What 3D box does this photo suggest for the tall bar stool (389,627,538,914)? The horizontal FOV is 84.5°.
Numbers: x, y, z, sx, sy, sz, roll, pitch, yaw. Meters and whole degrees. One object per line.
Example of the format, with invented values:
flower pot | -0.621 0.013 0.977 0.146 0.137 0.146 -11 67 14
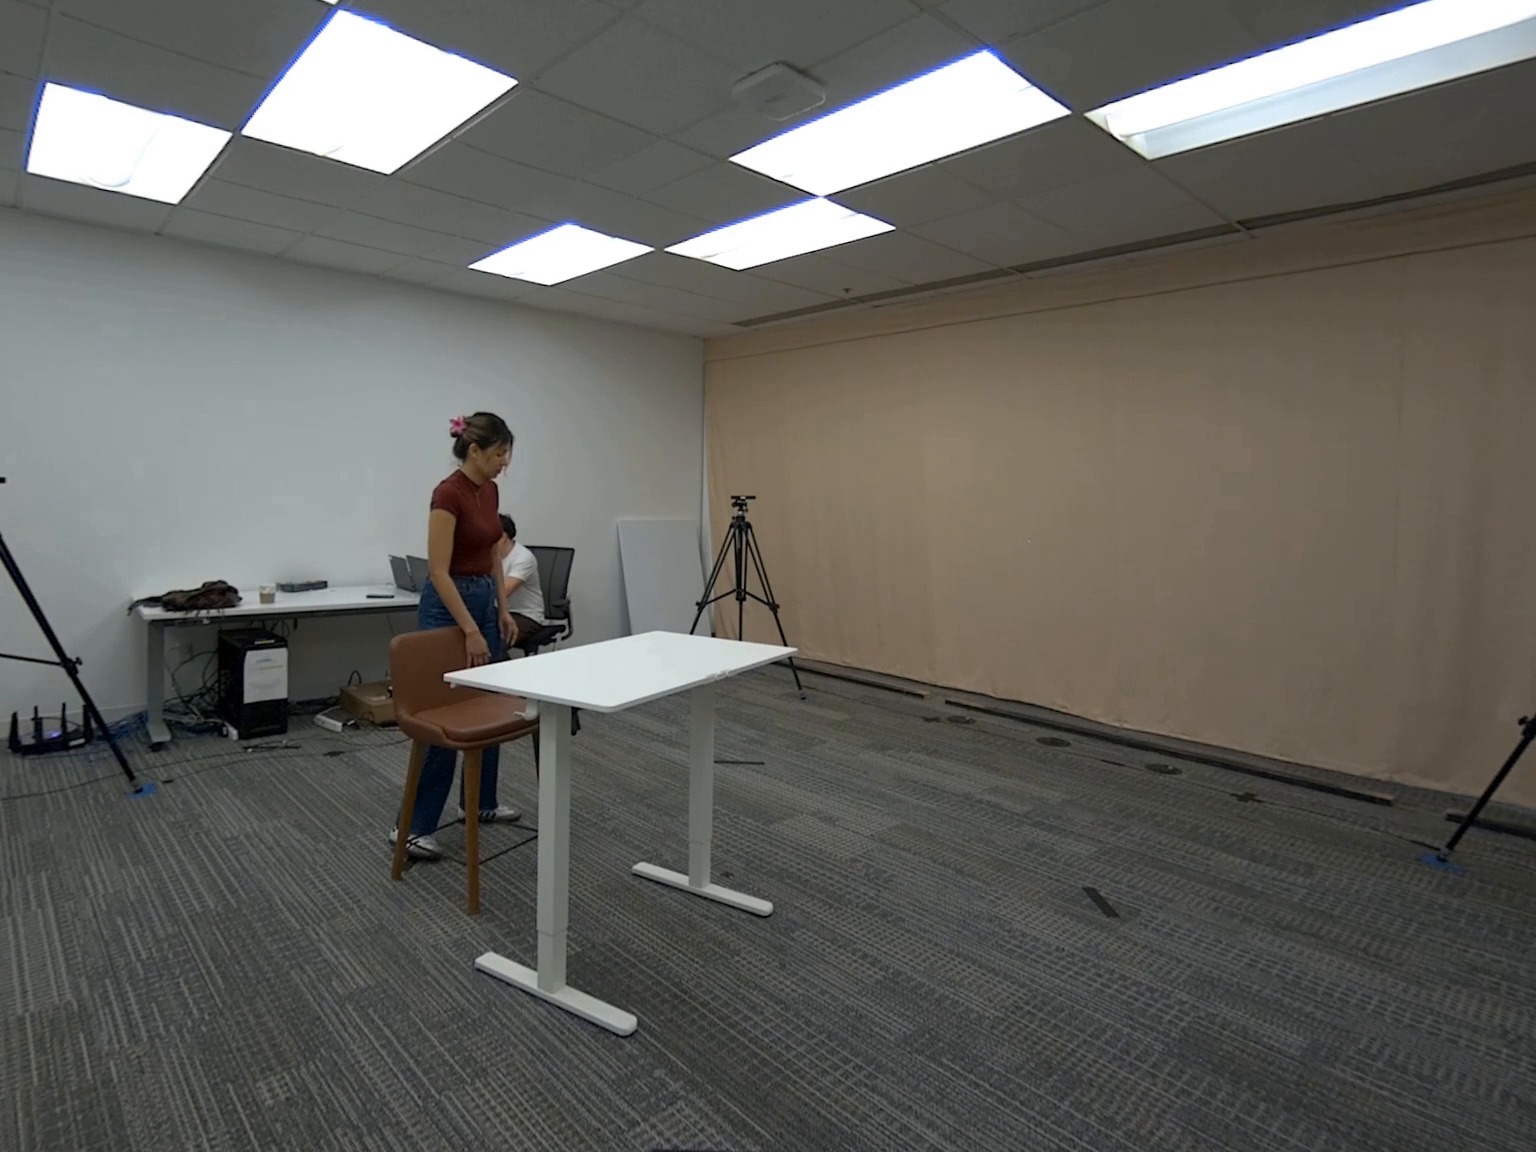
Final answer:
tall bar stool | -1.069 0.654 3.027 0.477 0.888 0.448 1 3 31
